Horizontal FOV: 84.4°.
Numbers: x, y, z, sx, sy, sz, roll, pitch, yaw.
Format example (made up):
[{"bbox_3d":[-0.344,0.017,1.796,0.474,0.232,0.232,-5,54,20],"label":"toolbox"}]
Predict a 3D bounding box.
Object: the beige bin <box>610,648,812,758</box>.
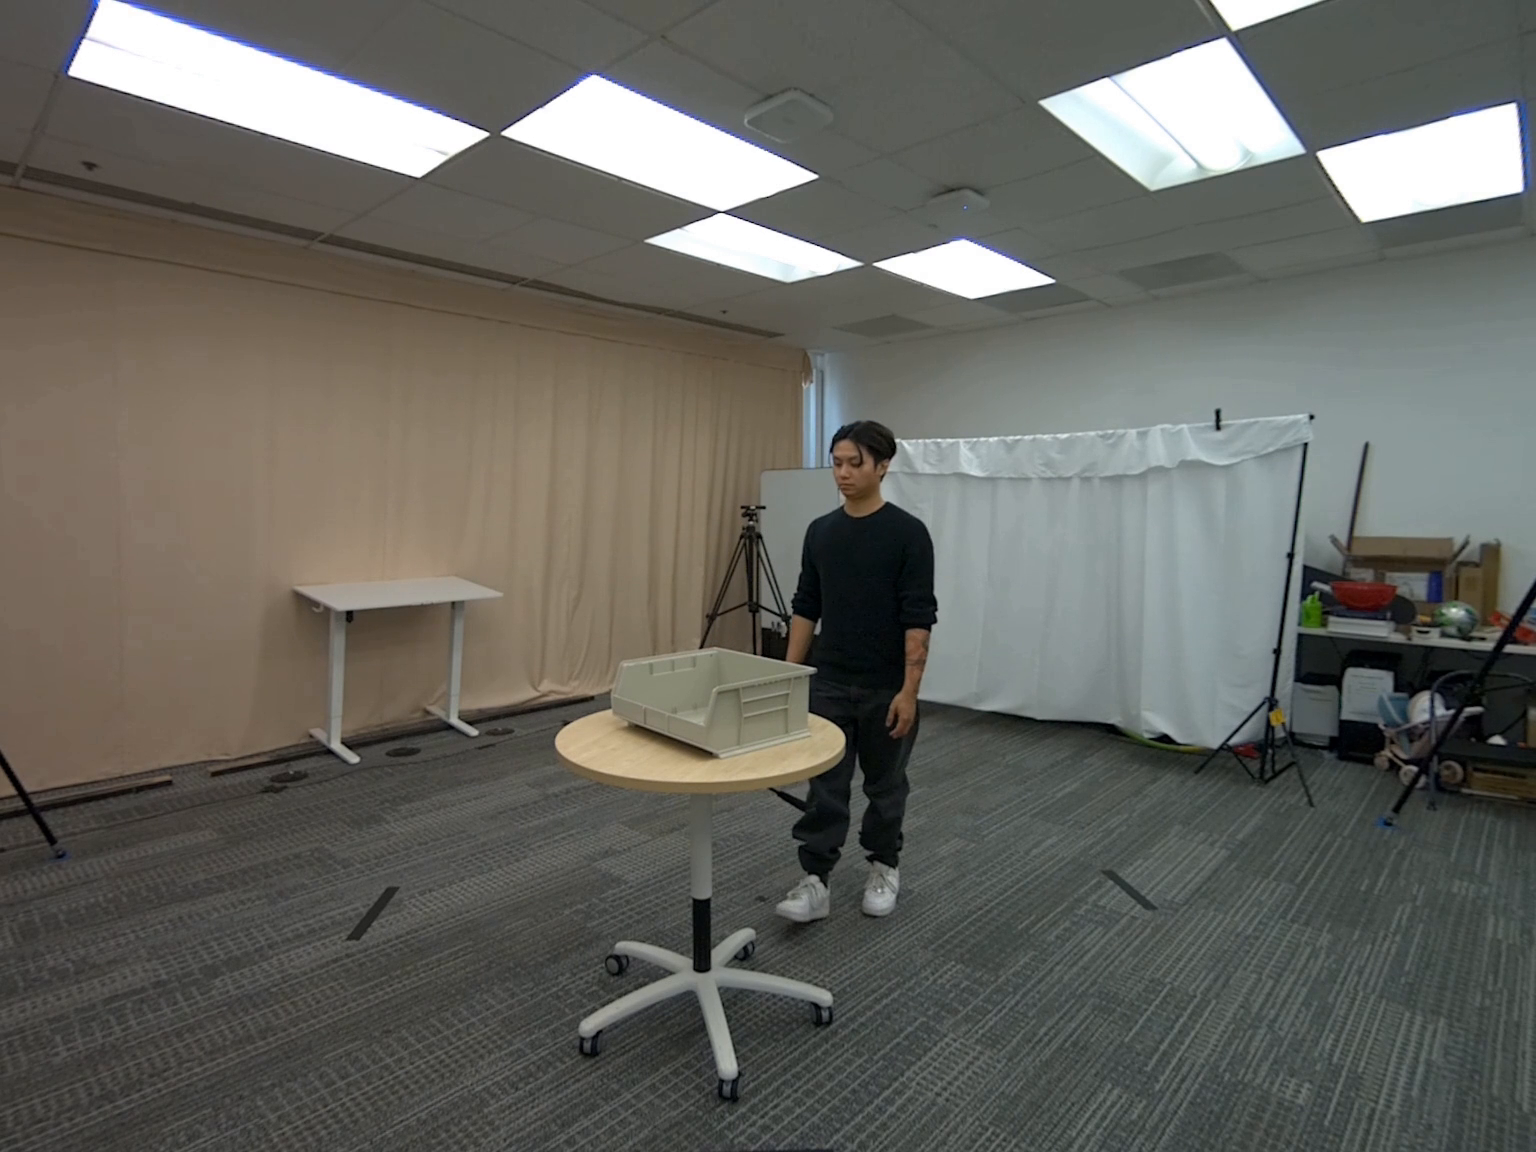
[{"bbox_3d":[-0.149,0.328,2.271,0.366,0.188,0.436,-2,5,-41],"label":"beige bin"}]
